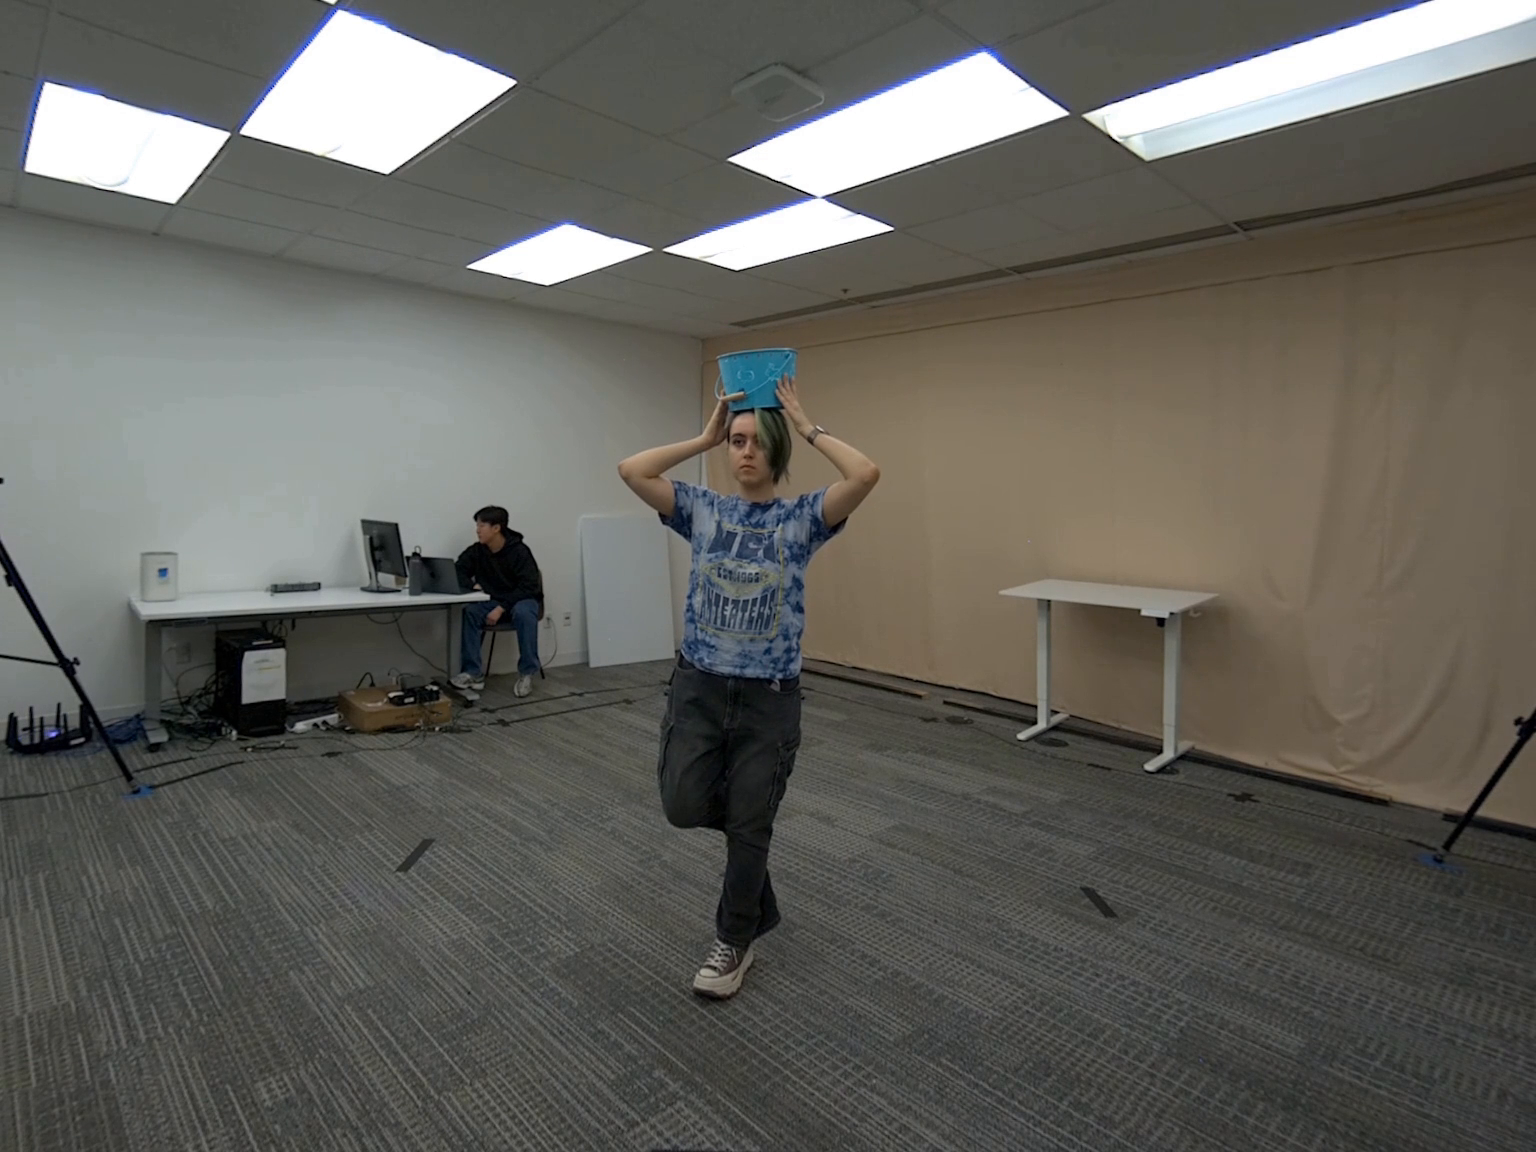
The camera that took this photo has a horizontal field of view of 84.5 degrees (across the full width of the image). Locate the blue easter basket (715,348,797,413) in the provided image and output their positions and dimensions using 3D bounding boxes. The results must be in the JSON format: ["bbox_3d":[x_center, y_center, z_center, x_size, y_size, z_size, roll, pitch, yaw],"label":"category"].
[{"bbox_3d":[-0.024,-0.542,2.364,0.243,0.155,0.245,-4,8,-1],"label":"blue easter basket"}]
